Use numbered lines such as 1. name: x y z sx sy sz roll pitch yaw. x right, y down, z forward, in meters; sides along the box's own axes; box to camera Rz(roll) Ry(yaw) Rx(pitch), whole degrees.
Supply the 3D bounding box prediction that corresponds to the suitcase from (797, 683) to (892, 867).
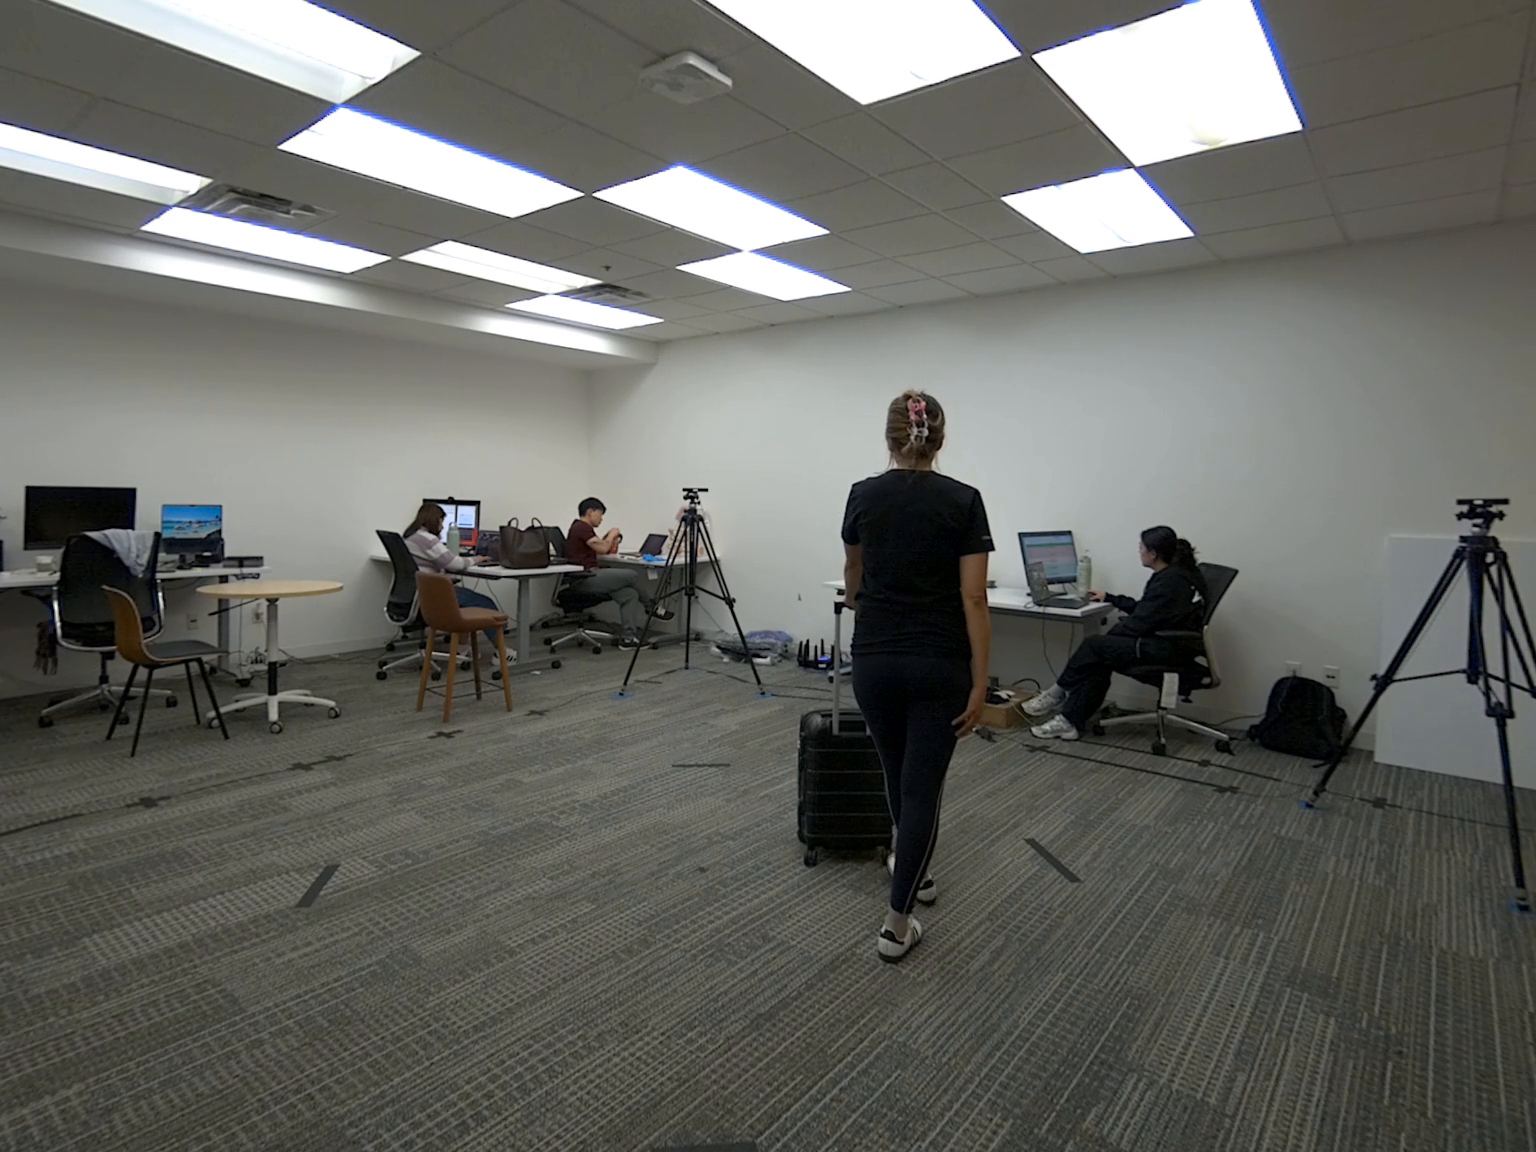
1. suitcase: 0.293 0.582 3.297 0.382 0.979 0.258 1 0 -4
